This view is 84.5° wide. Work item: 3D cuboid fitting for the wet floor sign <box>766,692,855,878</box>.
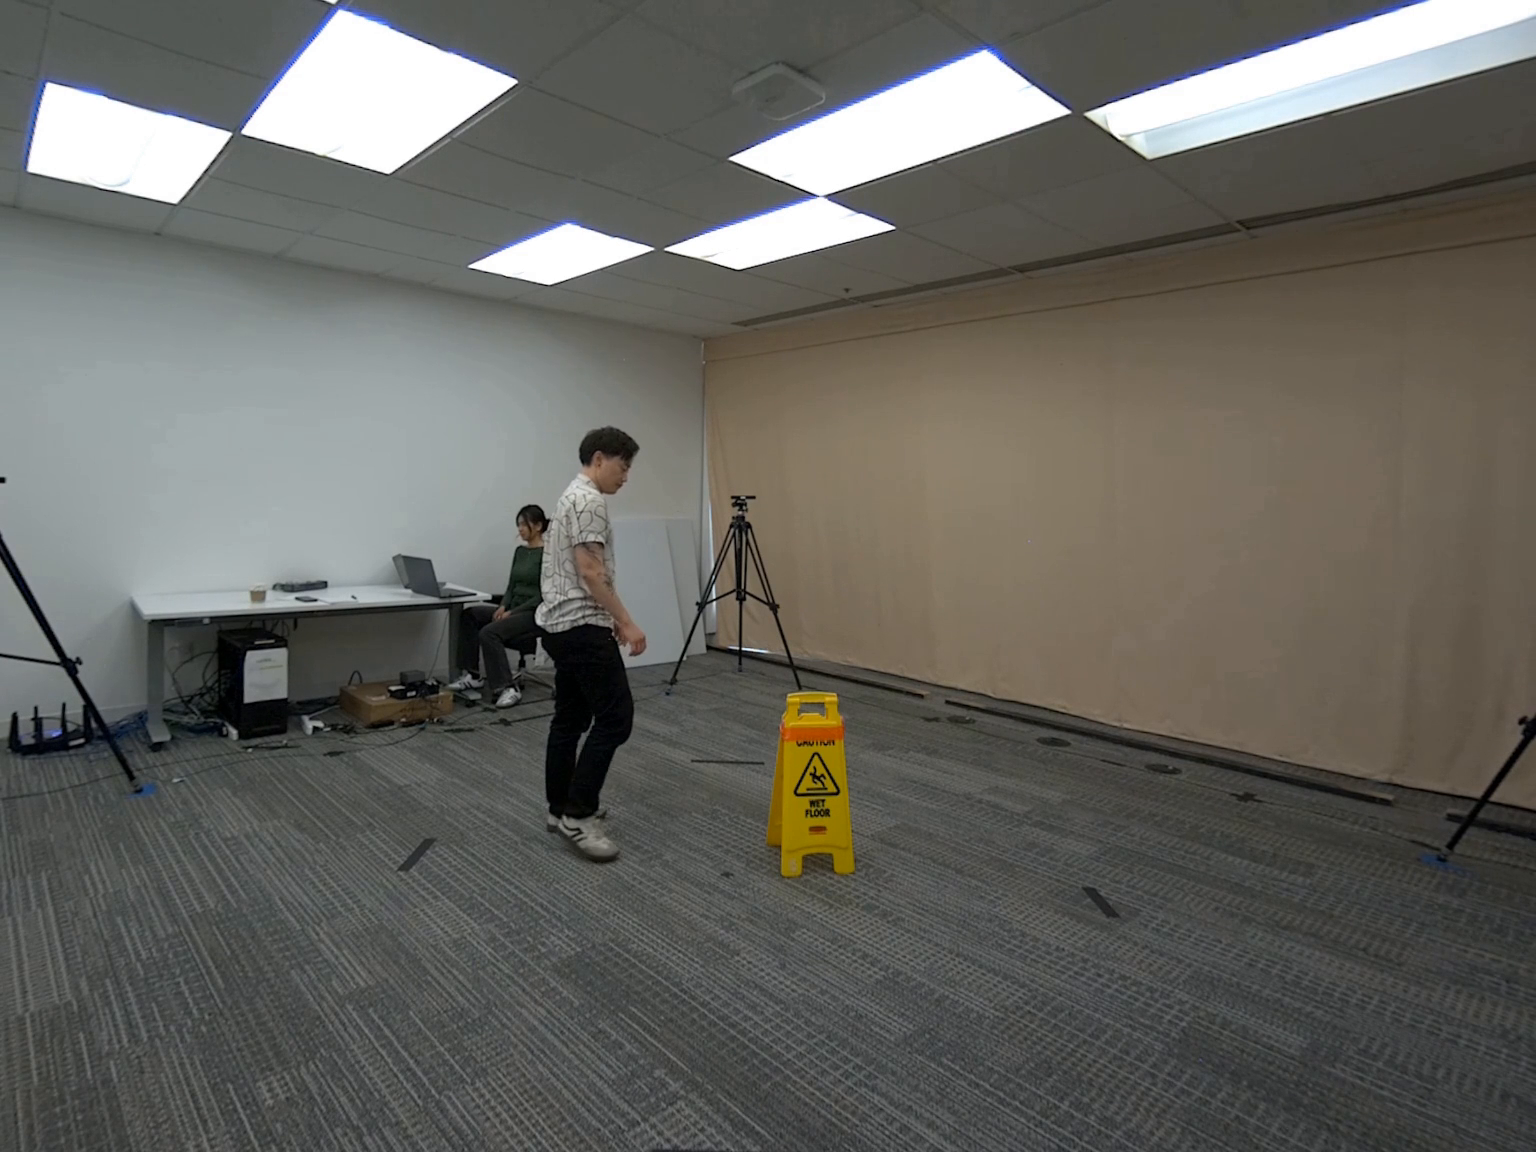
[{"bbox_3d":[0.158,0.773,3.242,0.280,0.645,0.292,2,2,-10],"label":"wet floor sign"}]
